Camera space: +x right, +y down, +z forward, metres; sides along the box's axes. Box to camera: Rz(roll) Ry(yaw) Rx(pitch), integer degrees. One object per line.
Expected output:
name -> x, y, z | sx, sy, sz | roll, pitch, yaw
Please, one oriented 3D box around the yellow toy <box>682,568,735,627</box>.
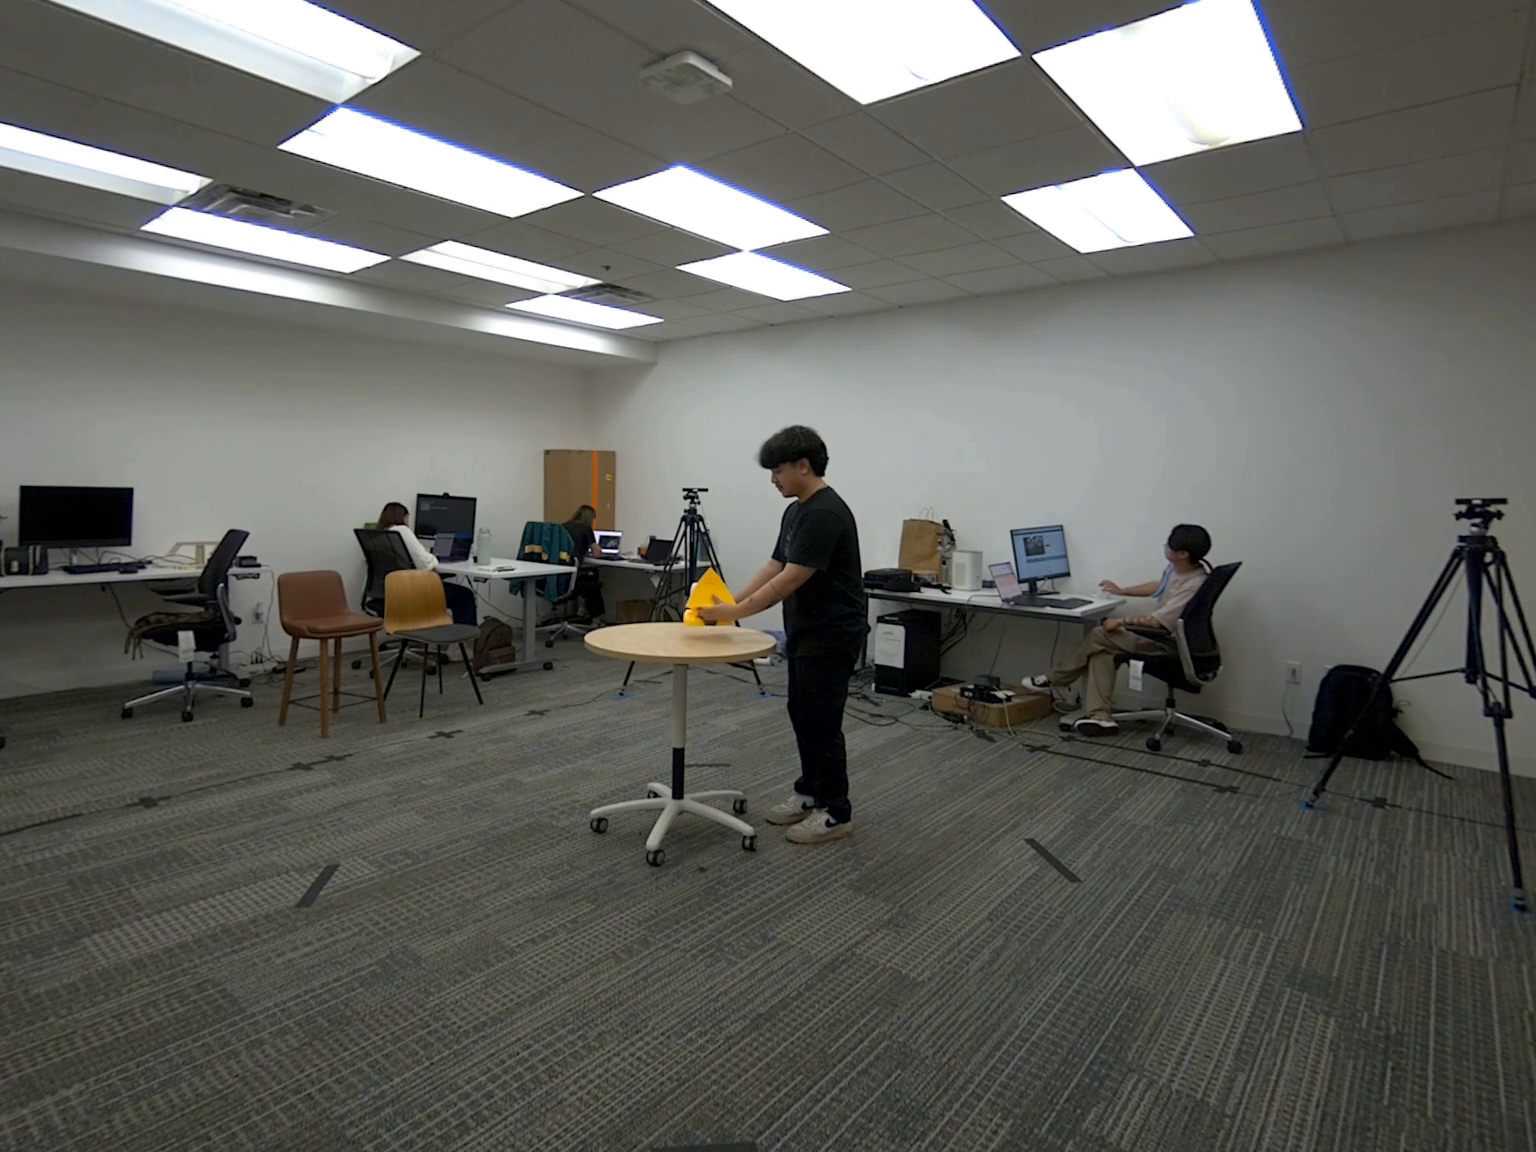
yellow toy -> -0.251, 0.071, 3.423 | 0.203, 0.230, 0.195 | 0, 2, -10
